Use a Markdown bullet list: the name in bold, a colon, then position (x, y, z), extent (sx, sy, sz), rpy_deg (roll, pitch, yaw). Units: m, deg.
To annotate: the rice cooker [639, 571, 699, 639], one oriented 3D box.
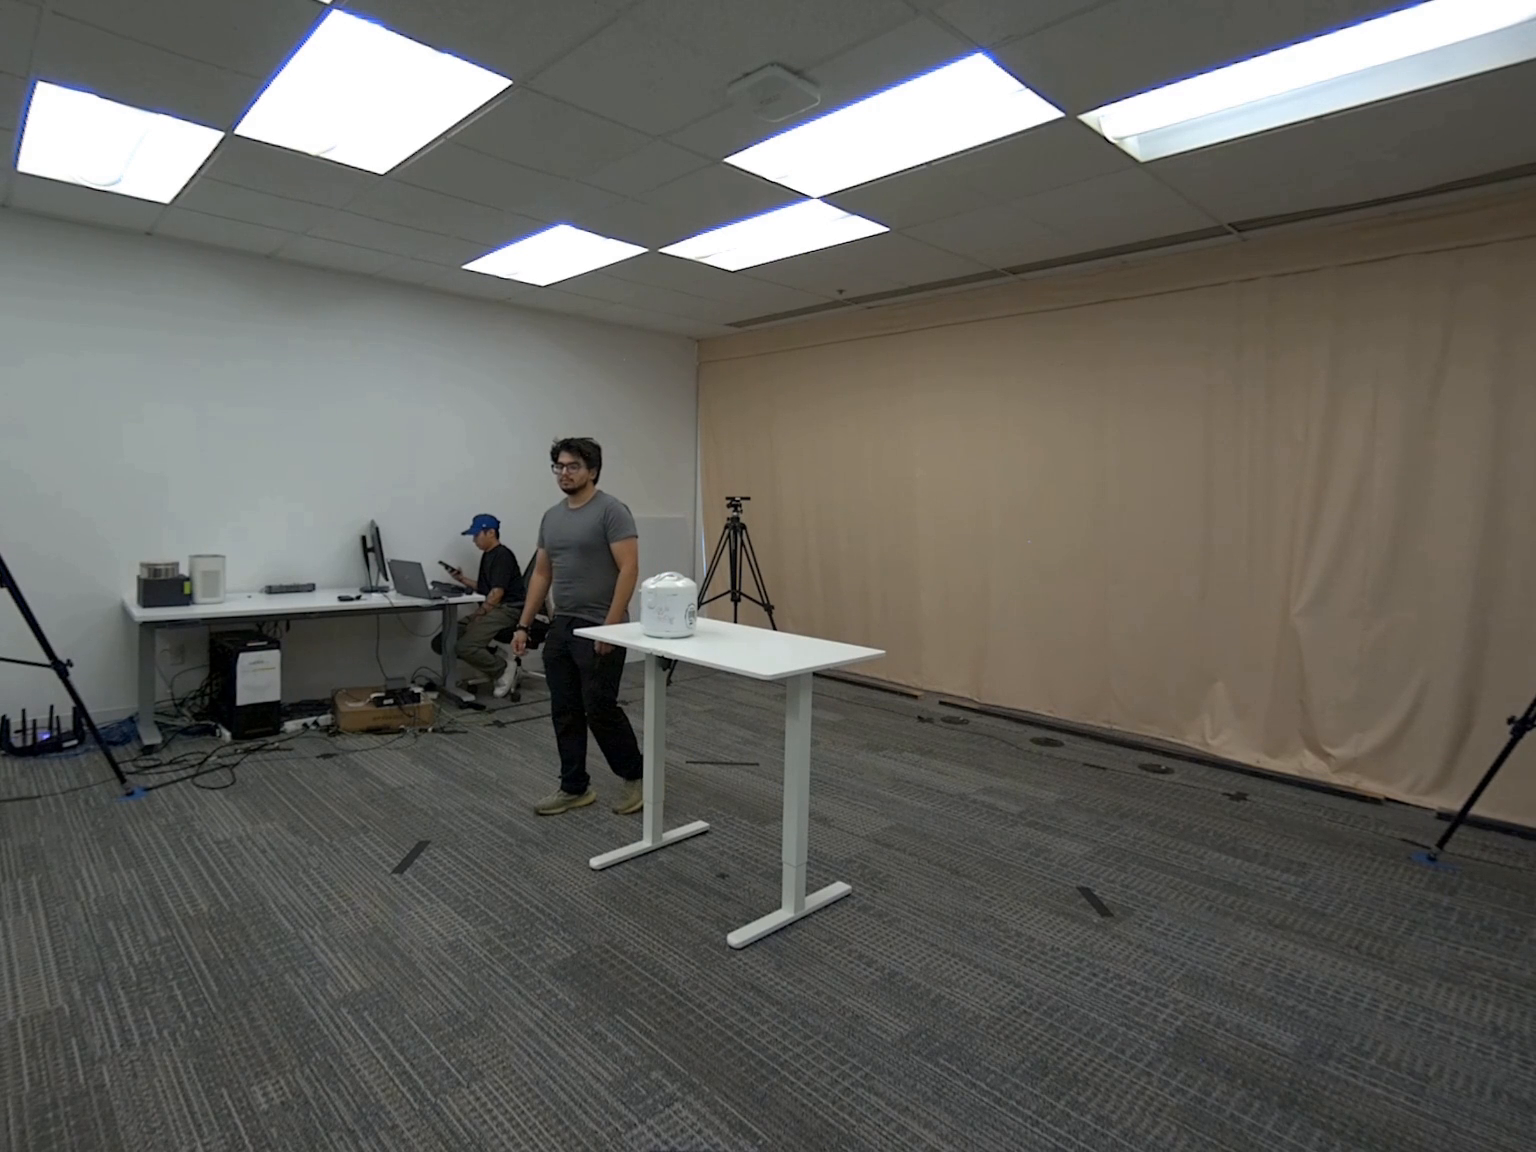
- **rice cooker**: position (-0.367, 0.103, 3.097), extent (0.222, 0.232, 0.216), rpy_deg (3, 5, 34)
